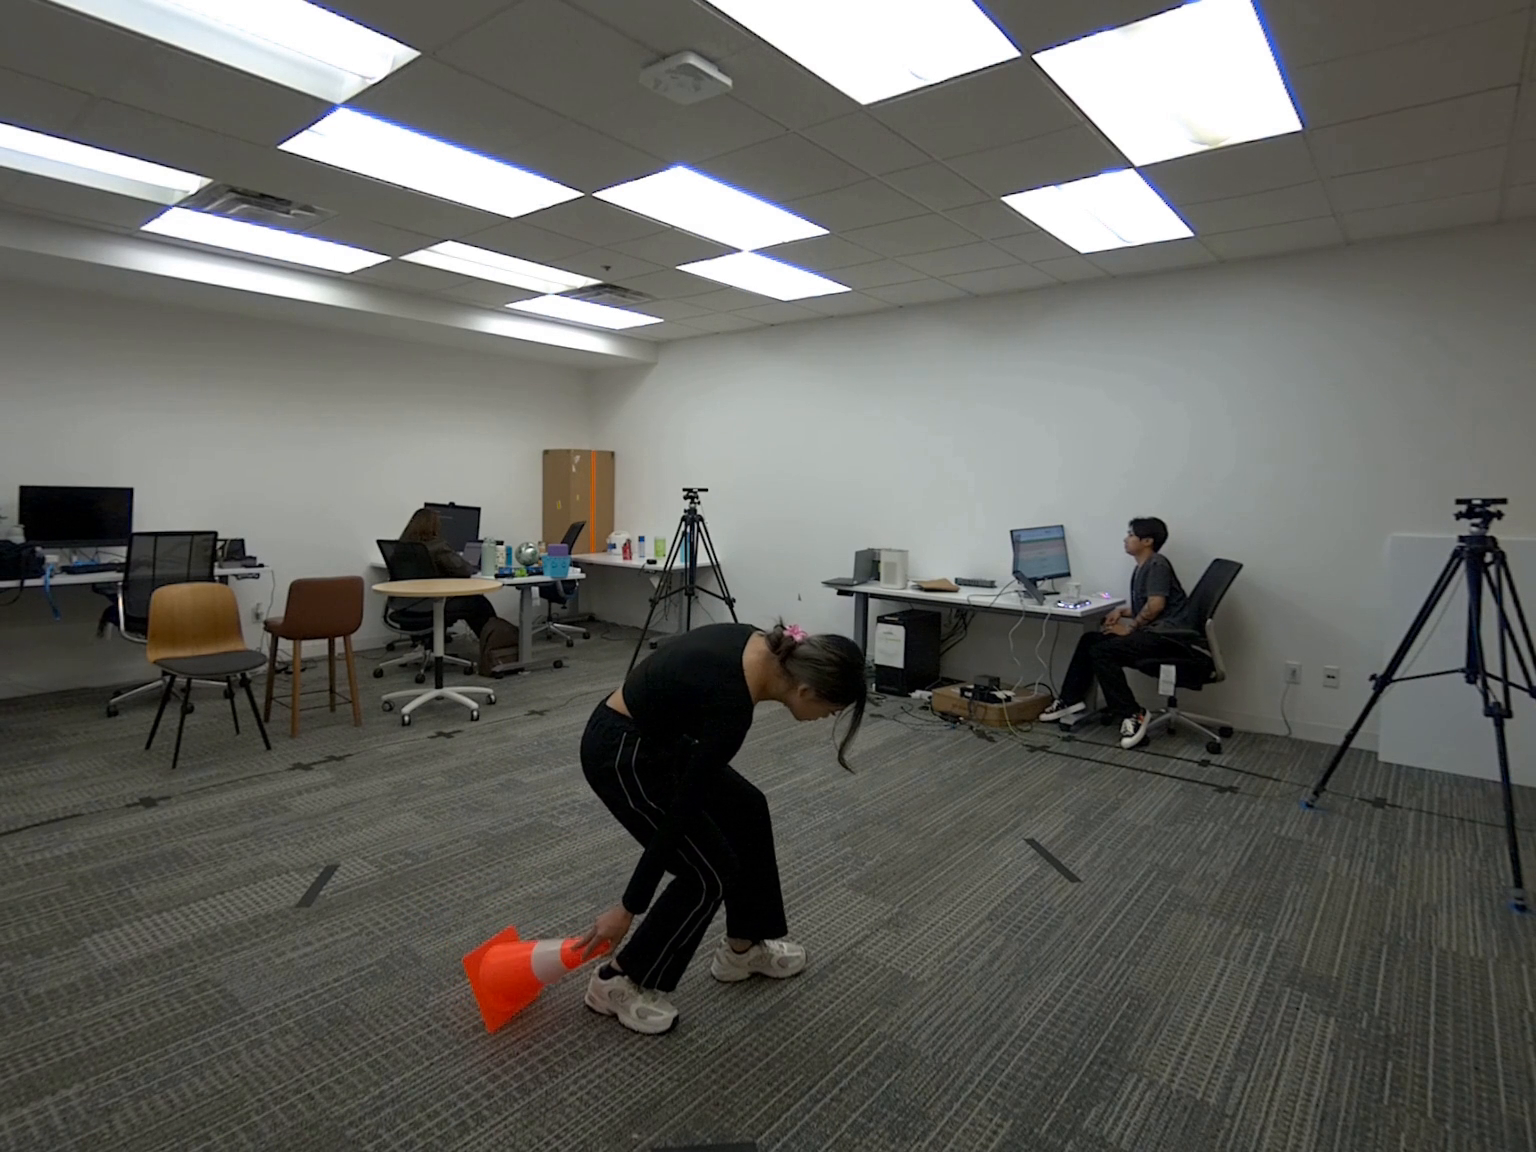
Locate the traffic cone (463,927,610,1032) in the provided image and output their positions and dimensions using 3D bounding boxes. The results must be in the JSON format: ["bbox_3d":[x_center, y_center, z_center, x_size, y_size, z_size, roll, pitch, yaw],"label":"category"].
[{"bbox_3d":[-0.560,0.987,2.169,0.387,0.207,0.199,-29,-15,26],"label":"traffic cone"}]
